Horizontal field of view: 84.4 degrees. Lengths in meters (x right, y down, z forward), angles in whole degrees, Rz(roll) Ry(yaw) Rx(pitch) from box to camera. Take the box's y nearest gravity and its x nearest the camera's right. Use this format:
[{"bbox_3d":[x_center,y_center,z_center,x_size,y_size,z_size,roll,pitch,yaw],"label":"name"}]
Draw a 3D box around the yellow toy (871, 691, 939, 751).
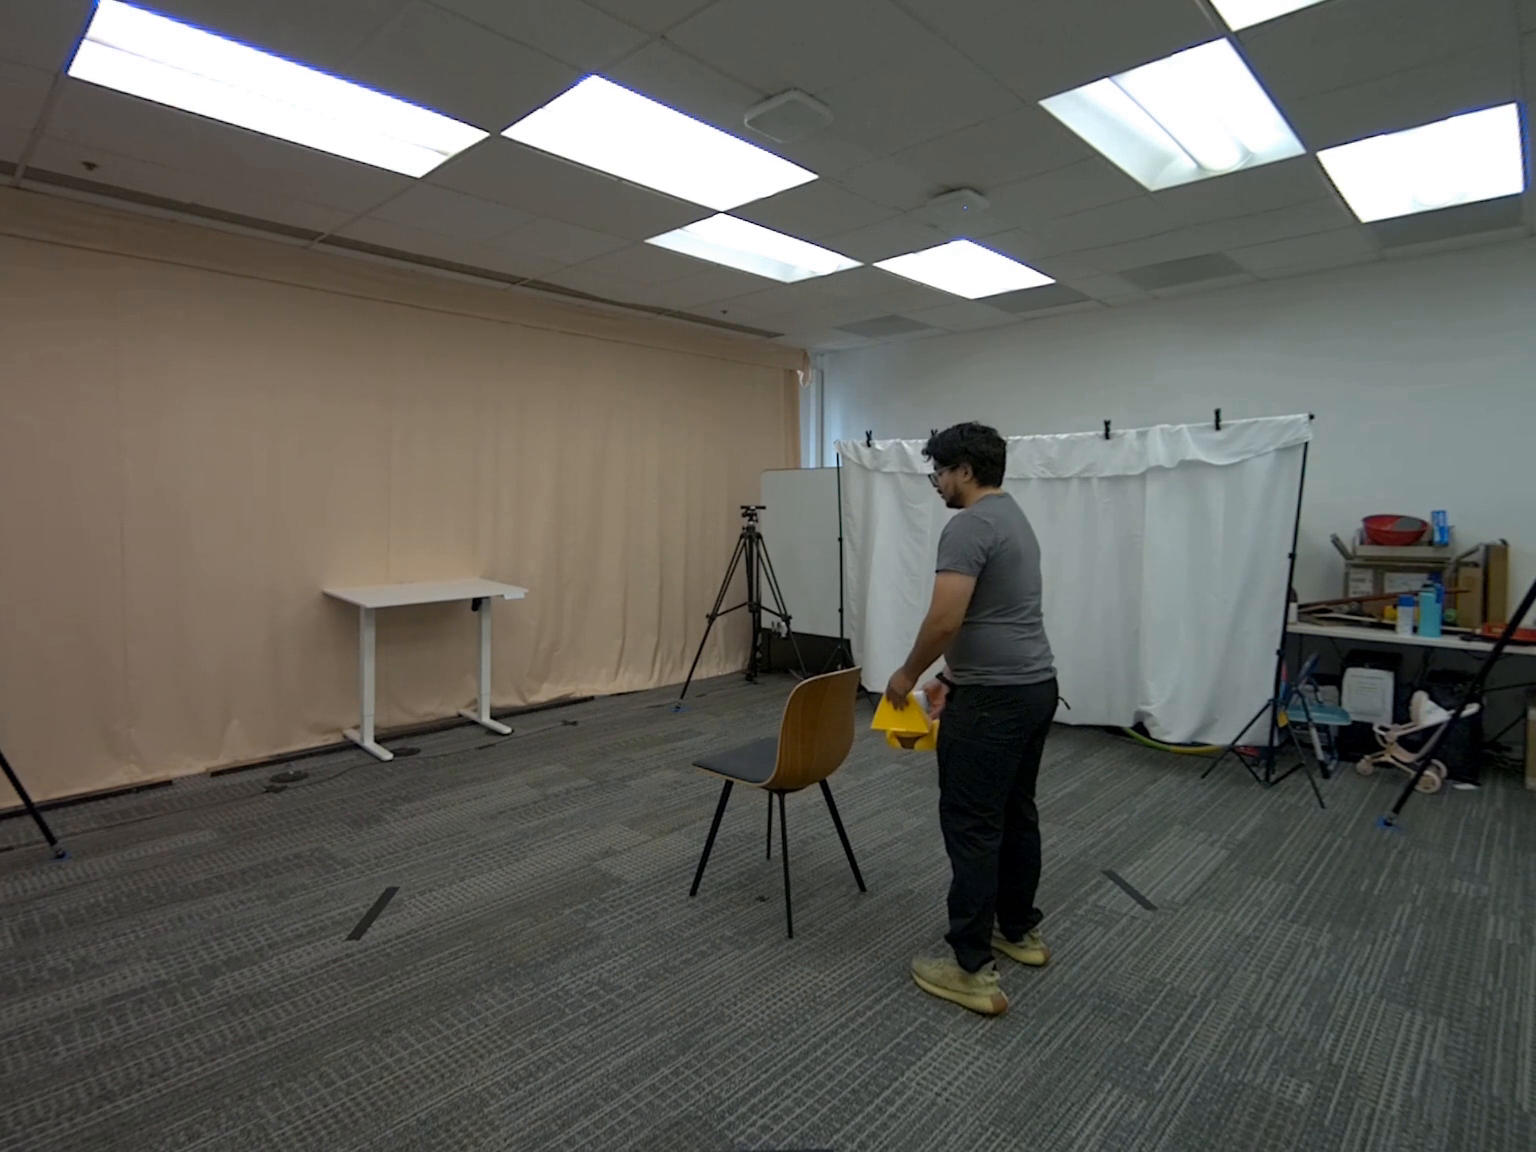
[{"bbox_3d":[0.463,0.419,2.680,0.211,0.228,0.190,-6,17,39],"label":"yellow toy"}]
